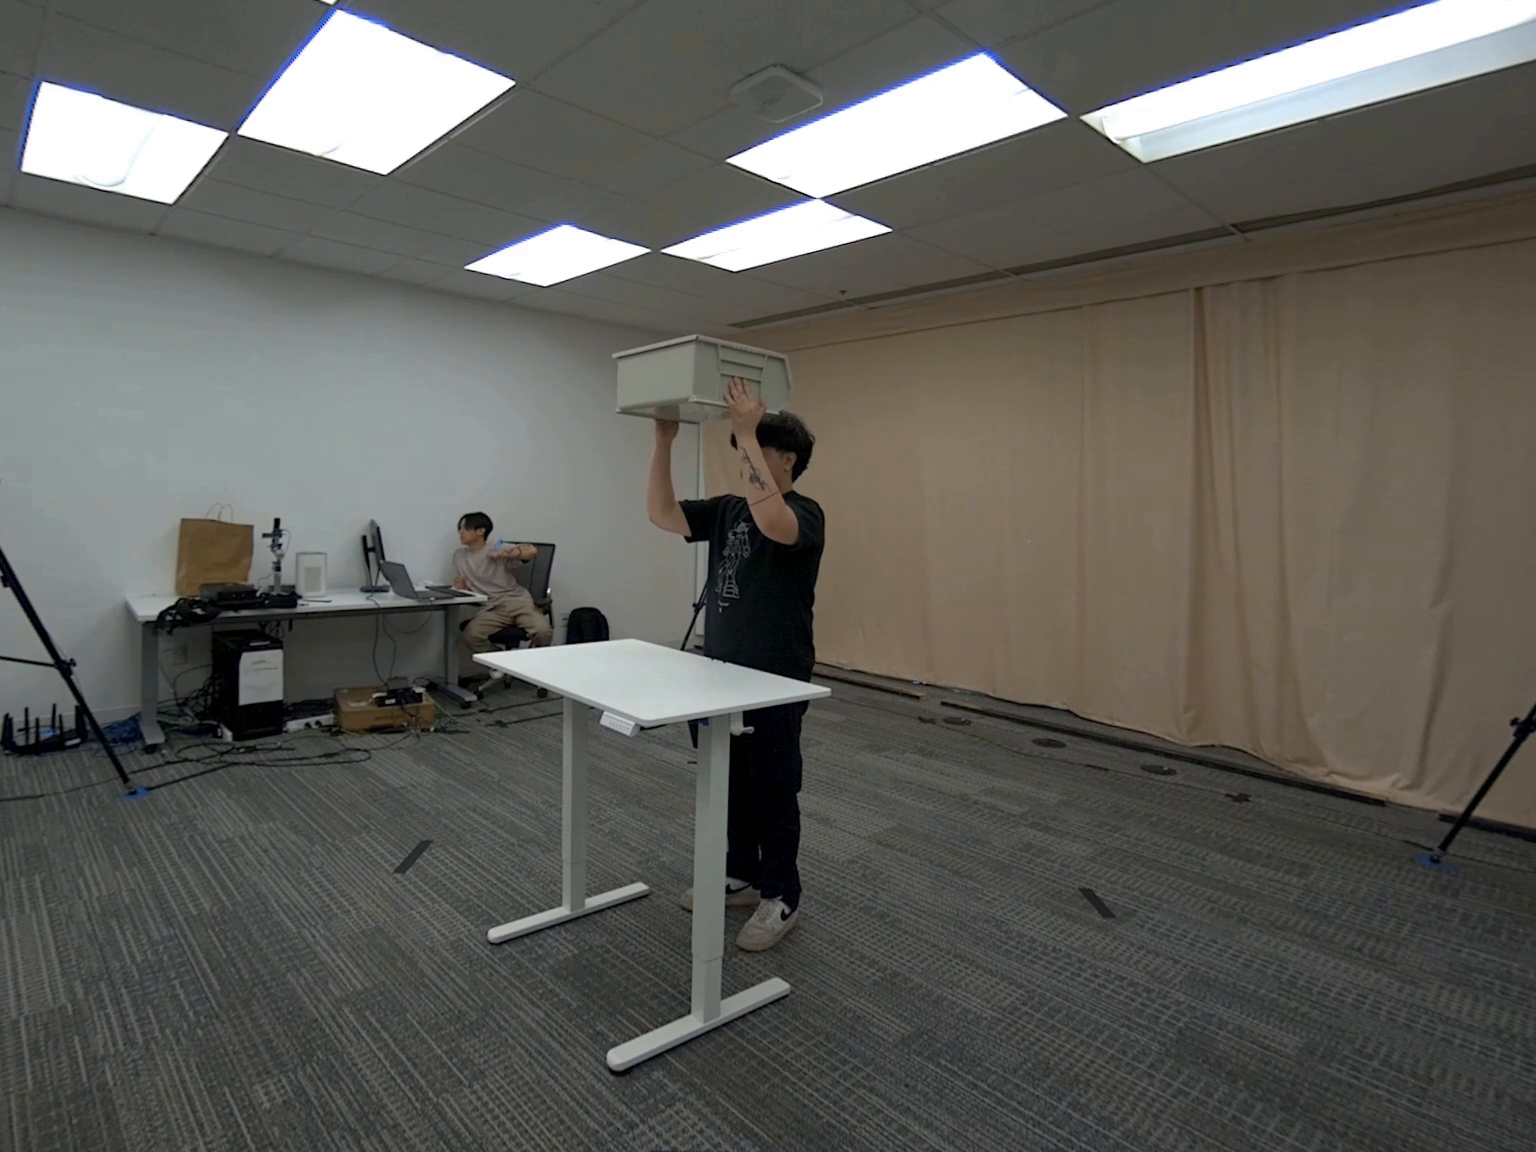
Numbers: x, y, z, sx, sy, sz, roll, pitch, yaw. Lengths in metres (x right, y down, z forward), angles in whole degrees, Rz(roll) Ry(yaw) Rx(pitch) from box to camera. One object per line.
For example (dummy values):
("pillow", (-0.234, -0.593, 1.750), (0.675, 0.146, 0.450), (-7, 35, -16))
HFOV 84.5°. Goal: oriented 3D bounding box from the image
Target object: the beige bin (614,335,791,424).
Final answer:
("beige bin", (-0.210, -0.574, 2.546), (0.368, 0.188, 0.433), (-1, 5, -42))
